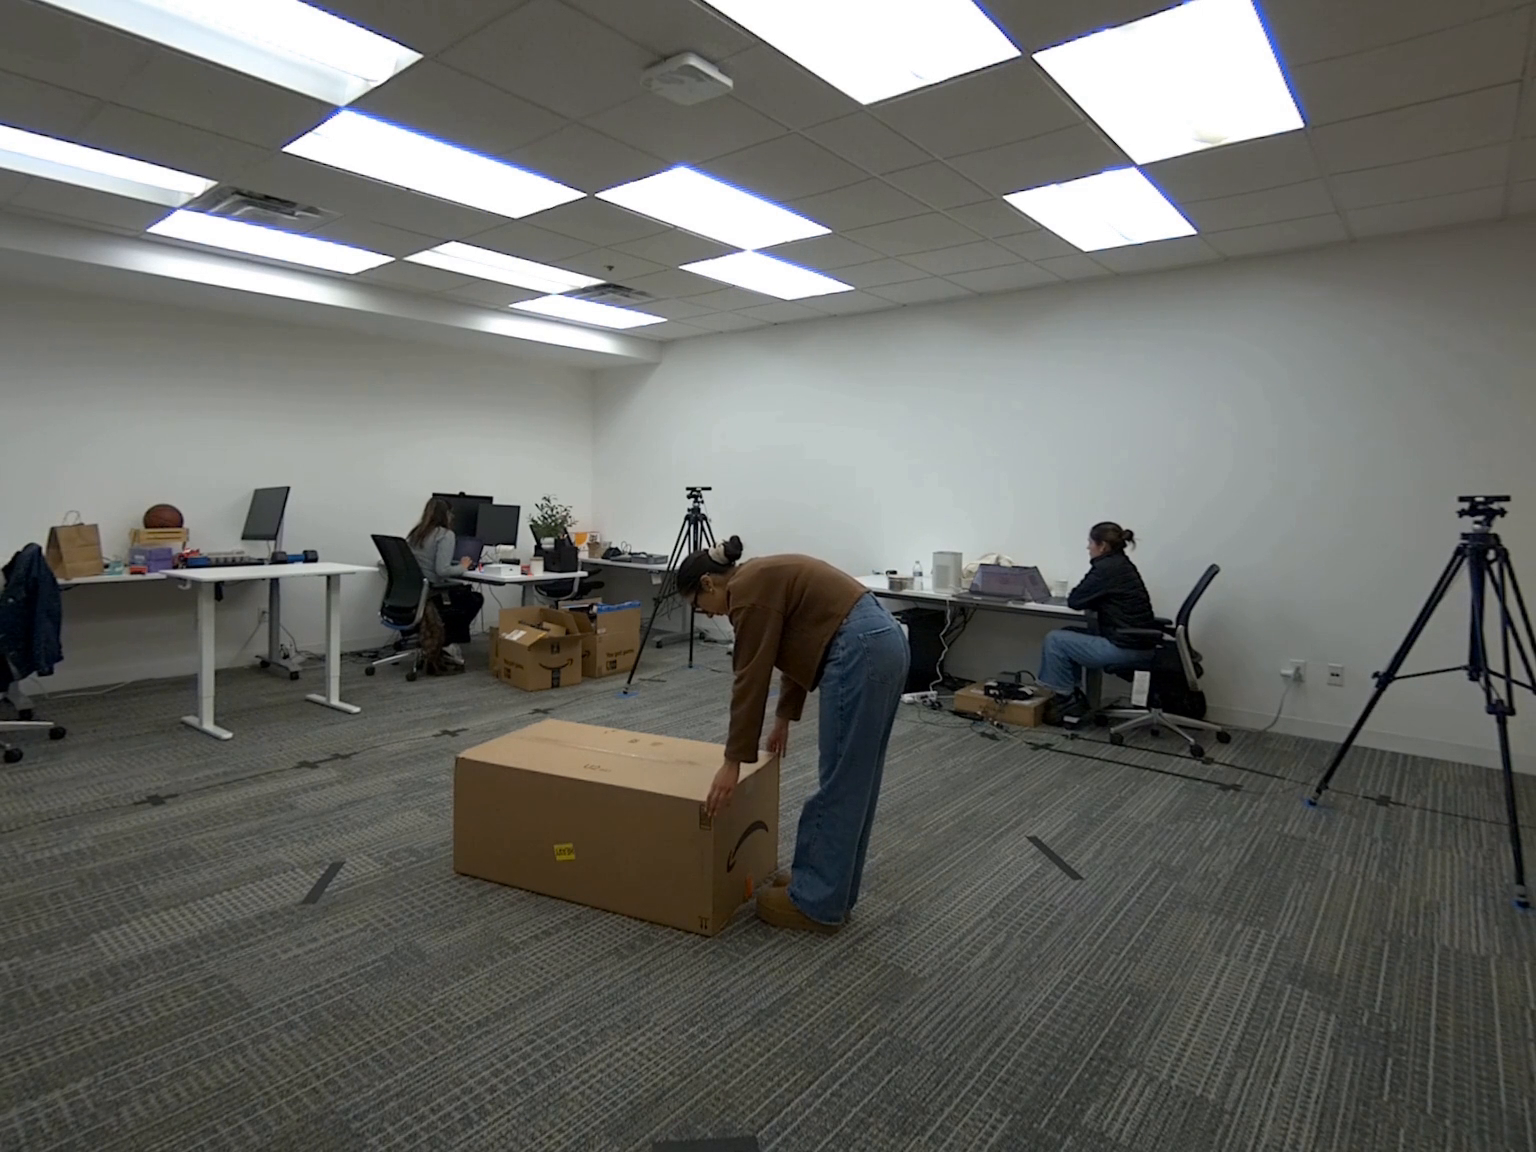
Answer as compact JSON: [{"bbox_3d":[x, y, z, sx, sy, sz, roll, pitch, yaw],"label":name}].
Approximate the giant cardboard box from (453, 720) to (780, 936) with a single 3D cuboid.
[{"bbox_3d":[-0.556,0.850,3.074,1.052,0.445,0.572,3,6,24],"label":"giant cardboard box"}]
